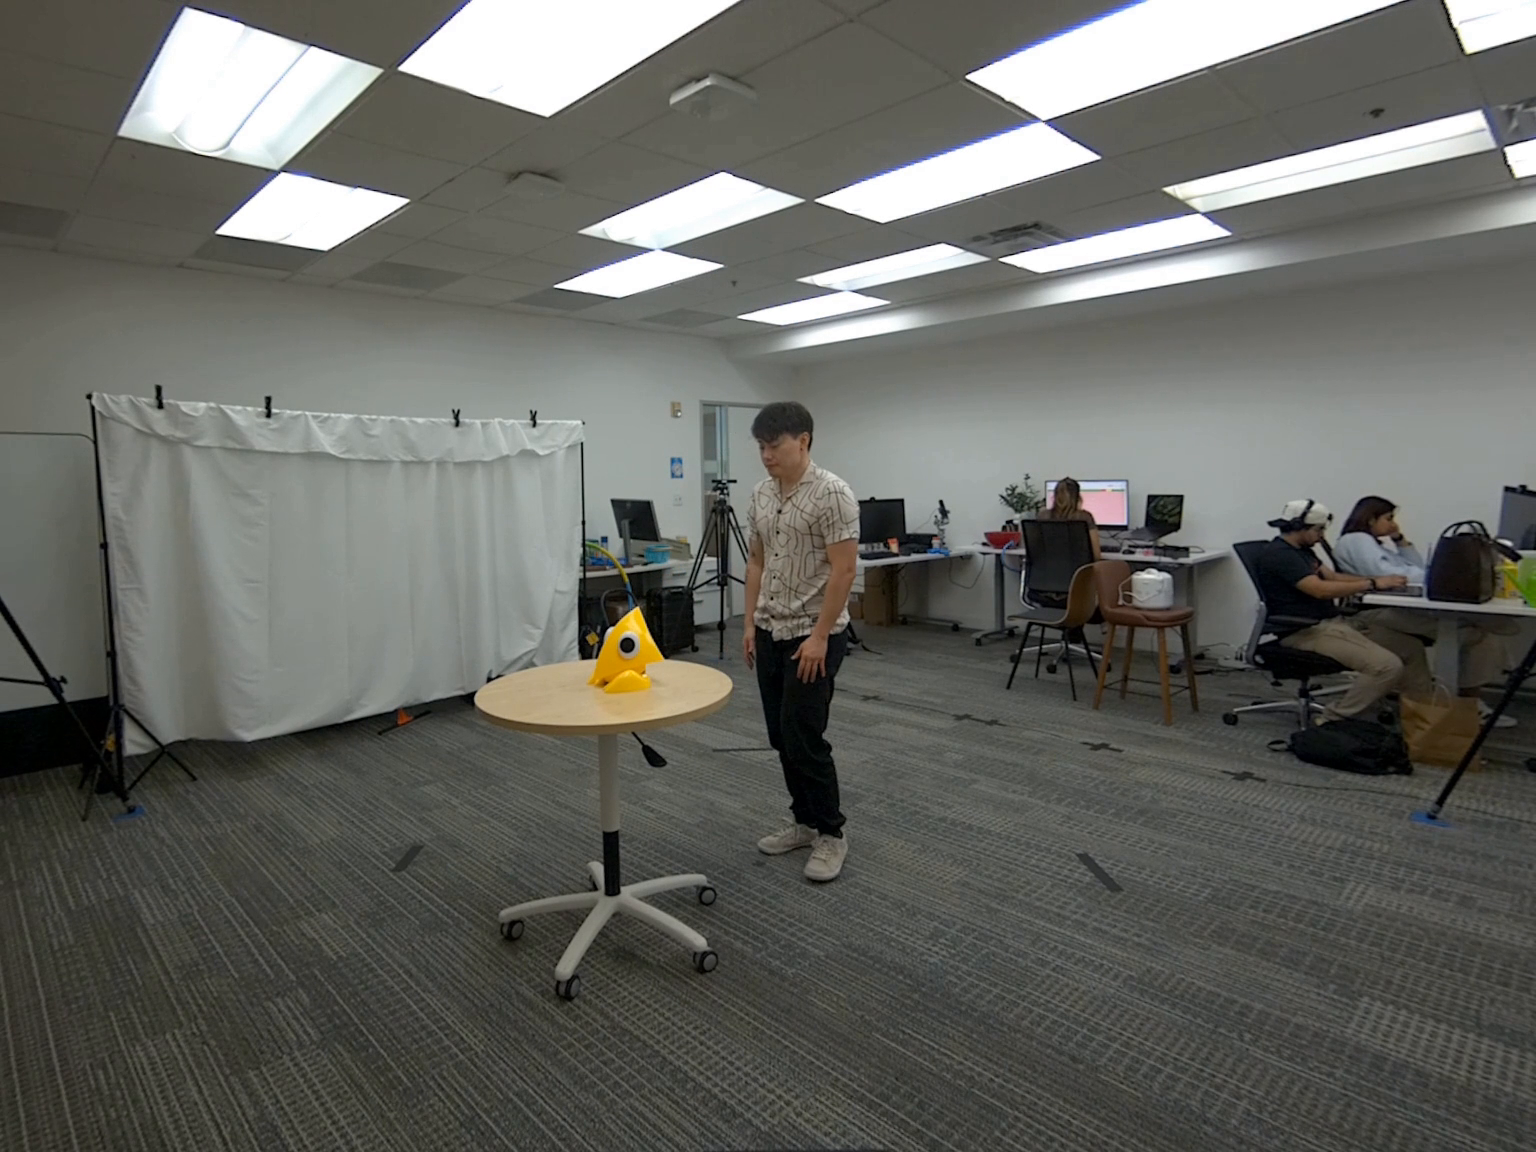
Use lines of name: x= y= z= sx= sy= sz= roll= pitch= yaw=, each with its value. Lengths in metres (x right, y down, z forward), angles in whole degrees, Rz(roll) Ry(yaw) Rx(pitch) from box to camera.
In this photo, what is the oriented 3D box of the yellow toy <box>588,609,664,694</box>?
yellow toy: x=-0.447 y=0.217 z=2.602 sx=0.188 sy=0.229 sz=0.211 roll=-5 pitch=7 yaw=-36
